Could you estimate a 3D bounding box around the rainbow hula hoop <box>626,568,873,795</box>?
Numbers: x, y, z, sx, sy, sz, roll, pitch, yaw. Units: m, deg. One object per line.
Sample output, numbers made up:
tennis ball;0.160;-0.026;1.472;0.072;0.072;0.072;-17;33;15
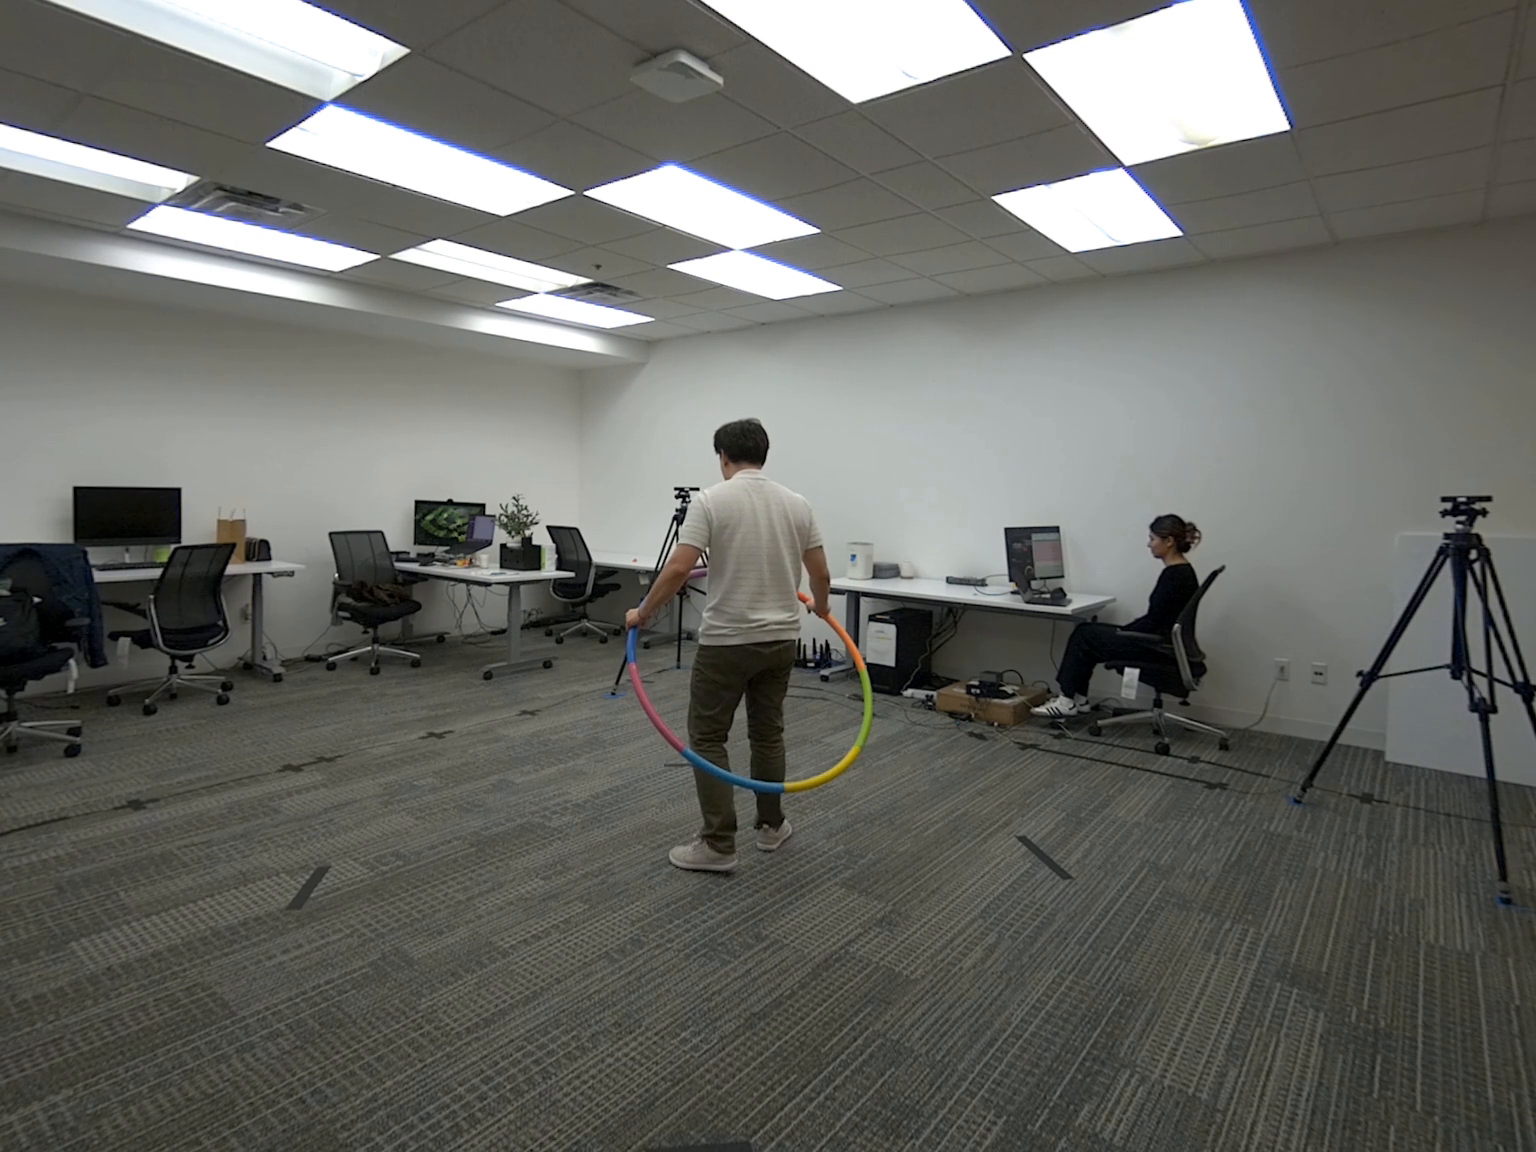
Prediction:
rainbow hula hoop;-0.068;0.347;3.203;0.962;0.035;1.008;13;43;-14
